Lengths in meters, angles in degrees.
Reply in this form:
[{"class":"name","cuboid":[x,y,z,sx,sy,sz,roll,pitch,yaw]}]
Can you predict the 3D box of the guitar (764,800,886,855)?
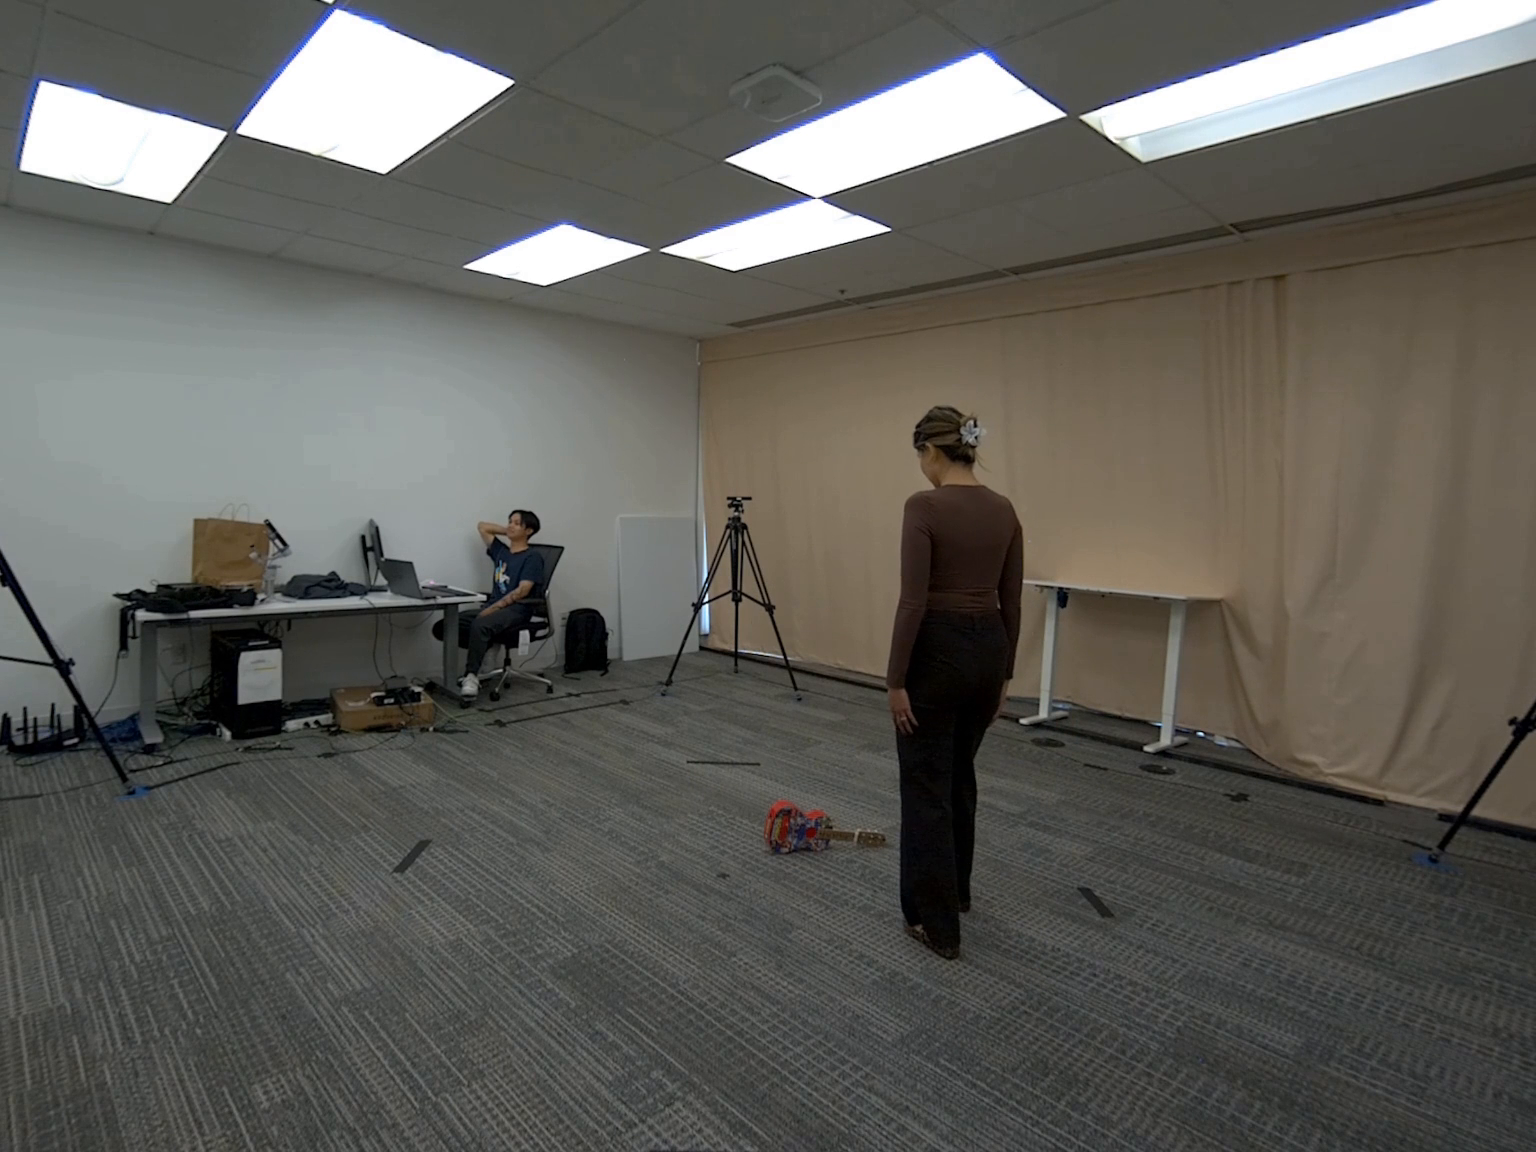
[{"class":"guitar","cuboid":[0.214,1.050,3.371,0.490,0.193,0.072,20,0,-17]}]
